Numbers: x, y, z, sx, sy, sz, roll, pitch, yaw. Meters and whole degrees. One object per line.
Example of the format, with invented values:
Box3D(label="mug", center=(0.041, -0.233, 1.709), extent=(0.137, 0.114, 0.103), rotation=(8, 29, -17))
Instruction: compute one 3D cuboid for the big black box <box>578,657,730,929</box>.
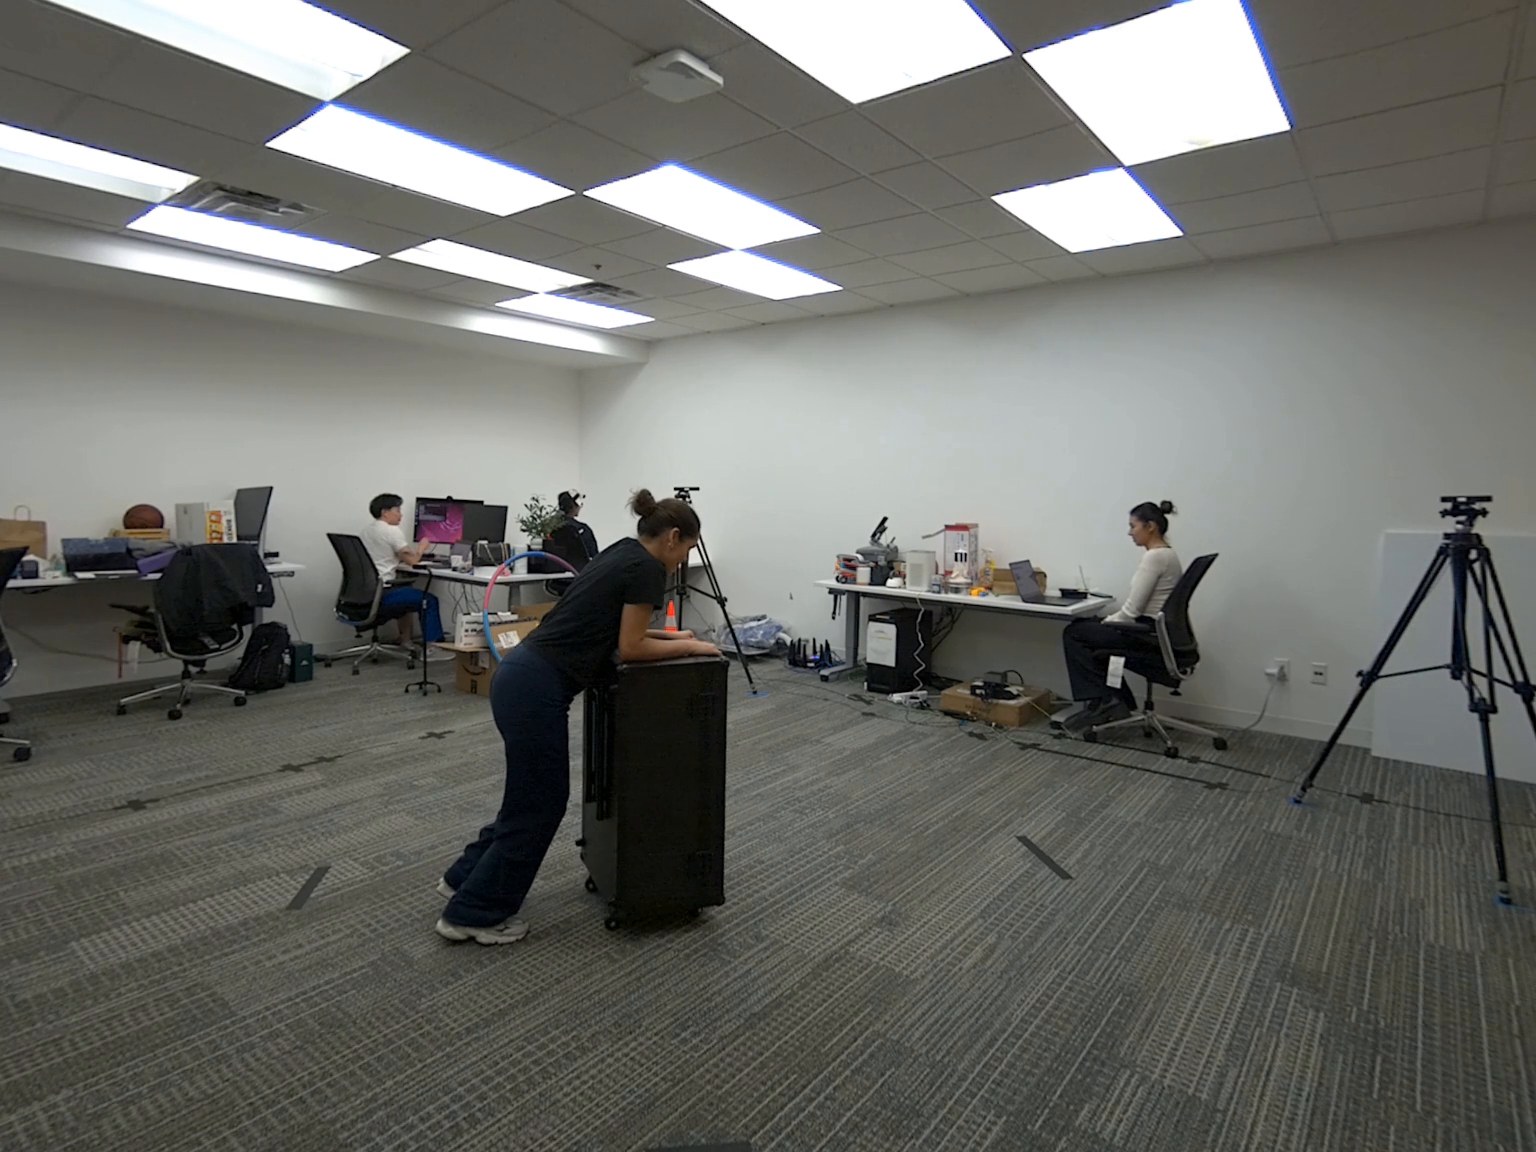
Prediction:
Box3D(label="big black box", center=(-0.386, 0.603, 2.848), extent=(0.387, 0.859, 0.535), rotation=(0, 3, -24))
